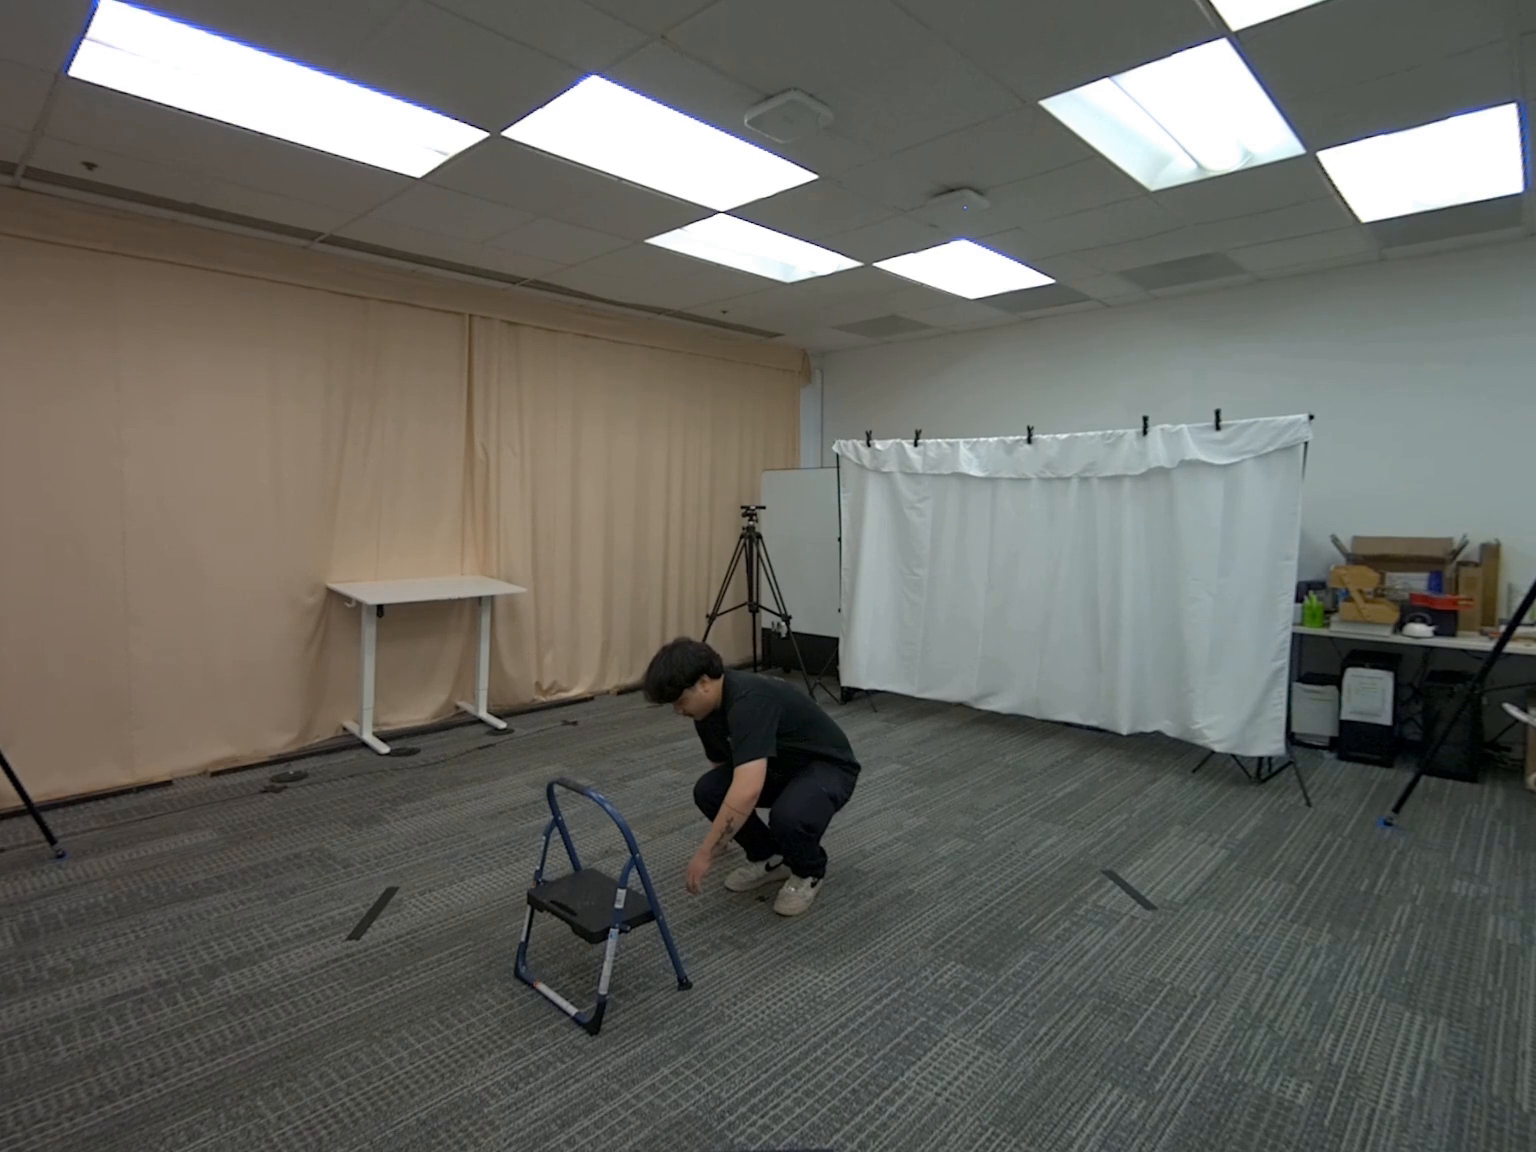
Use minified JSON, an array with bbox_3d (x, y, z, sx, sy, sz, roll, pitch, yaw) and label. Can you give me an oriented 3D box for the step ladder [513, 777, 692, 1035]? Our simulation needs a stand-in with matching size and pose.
[{"bbox_3d":[-0.491,0.889,2.457,0.445,0.605,0.338,3,4,44],"label":"step ladder"}]
